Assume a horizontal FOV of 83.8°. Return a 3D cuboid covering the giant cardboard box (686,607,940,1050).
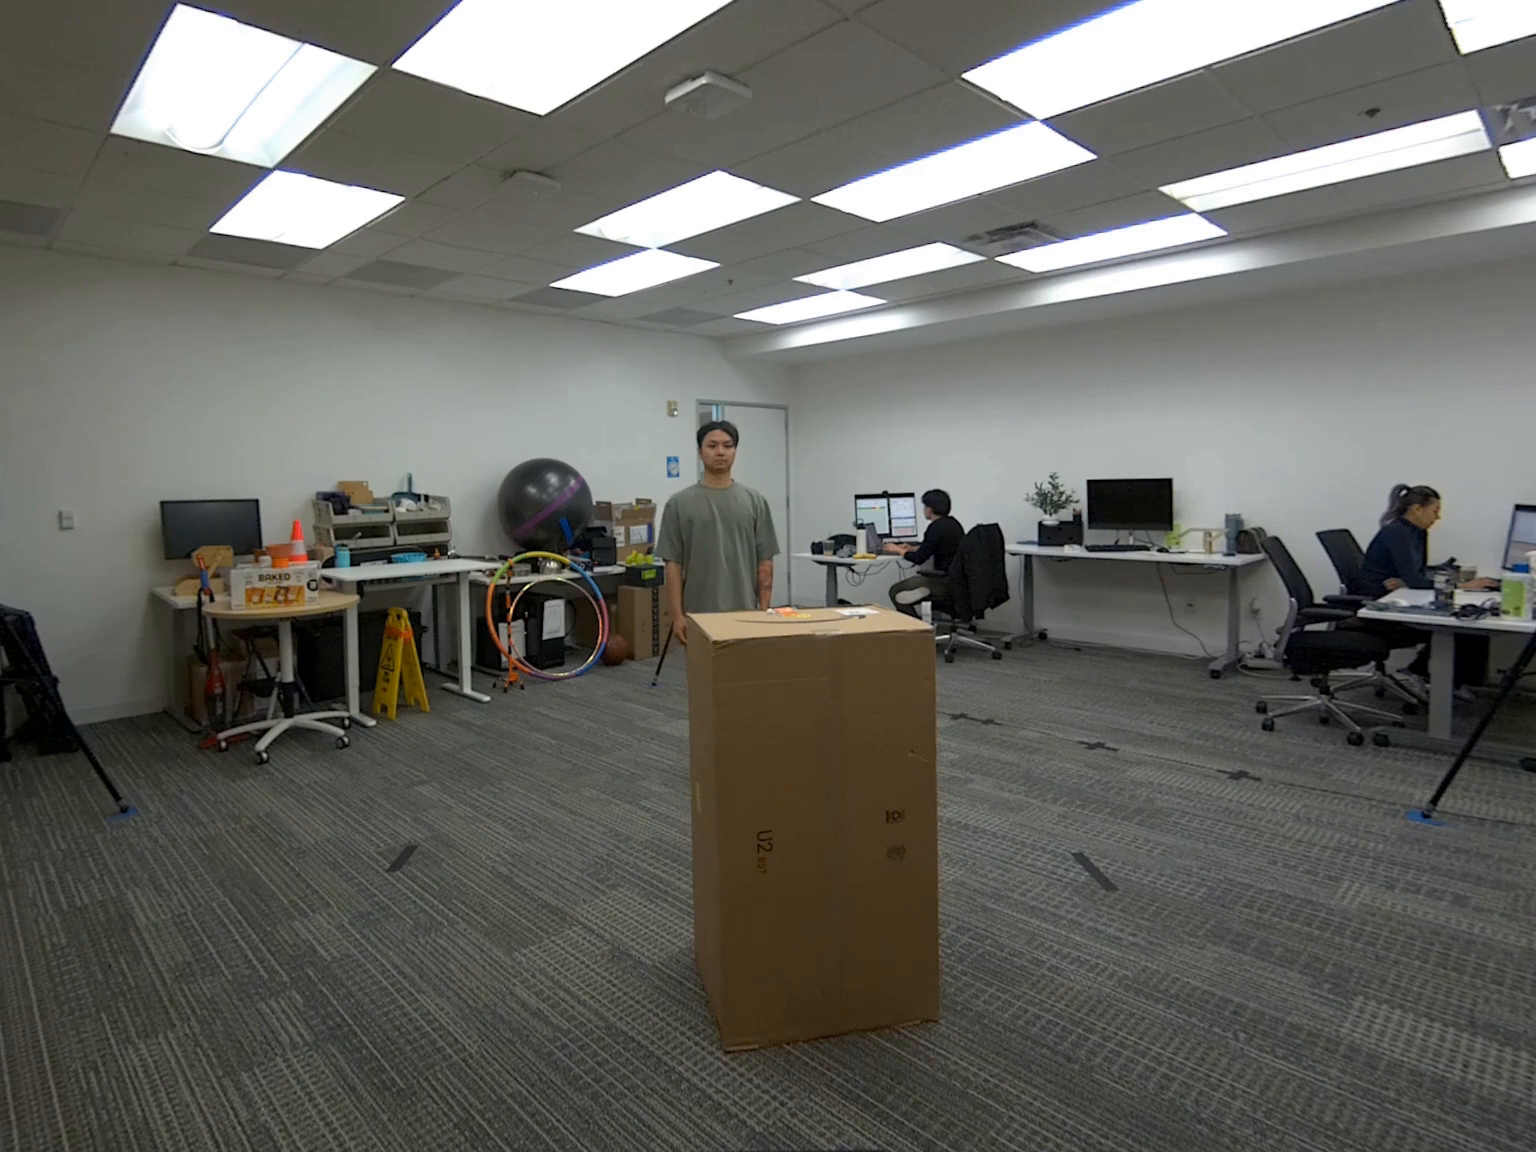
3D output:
[{"bbox_3d":[0.111,0.636,2.303,0.571,1.020,0.434,-2,6,-13],"label":"giant cardboard box"}]
